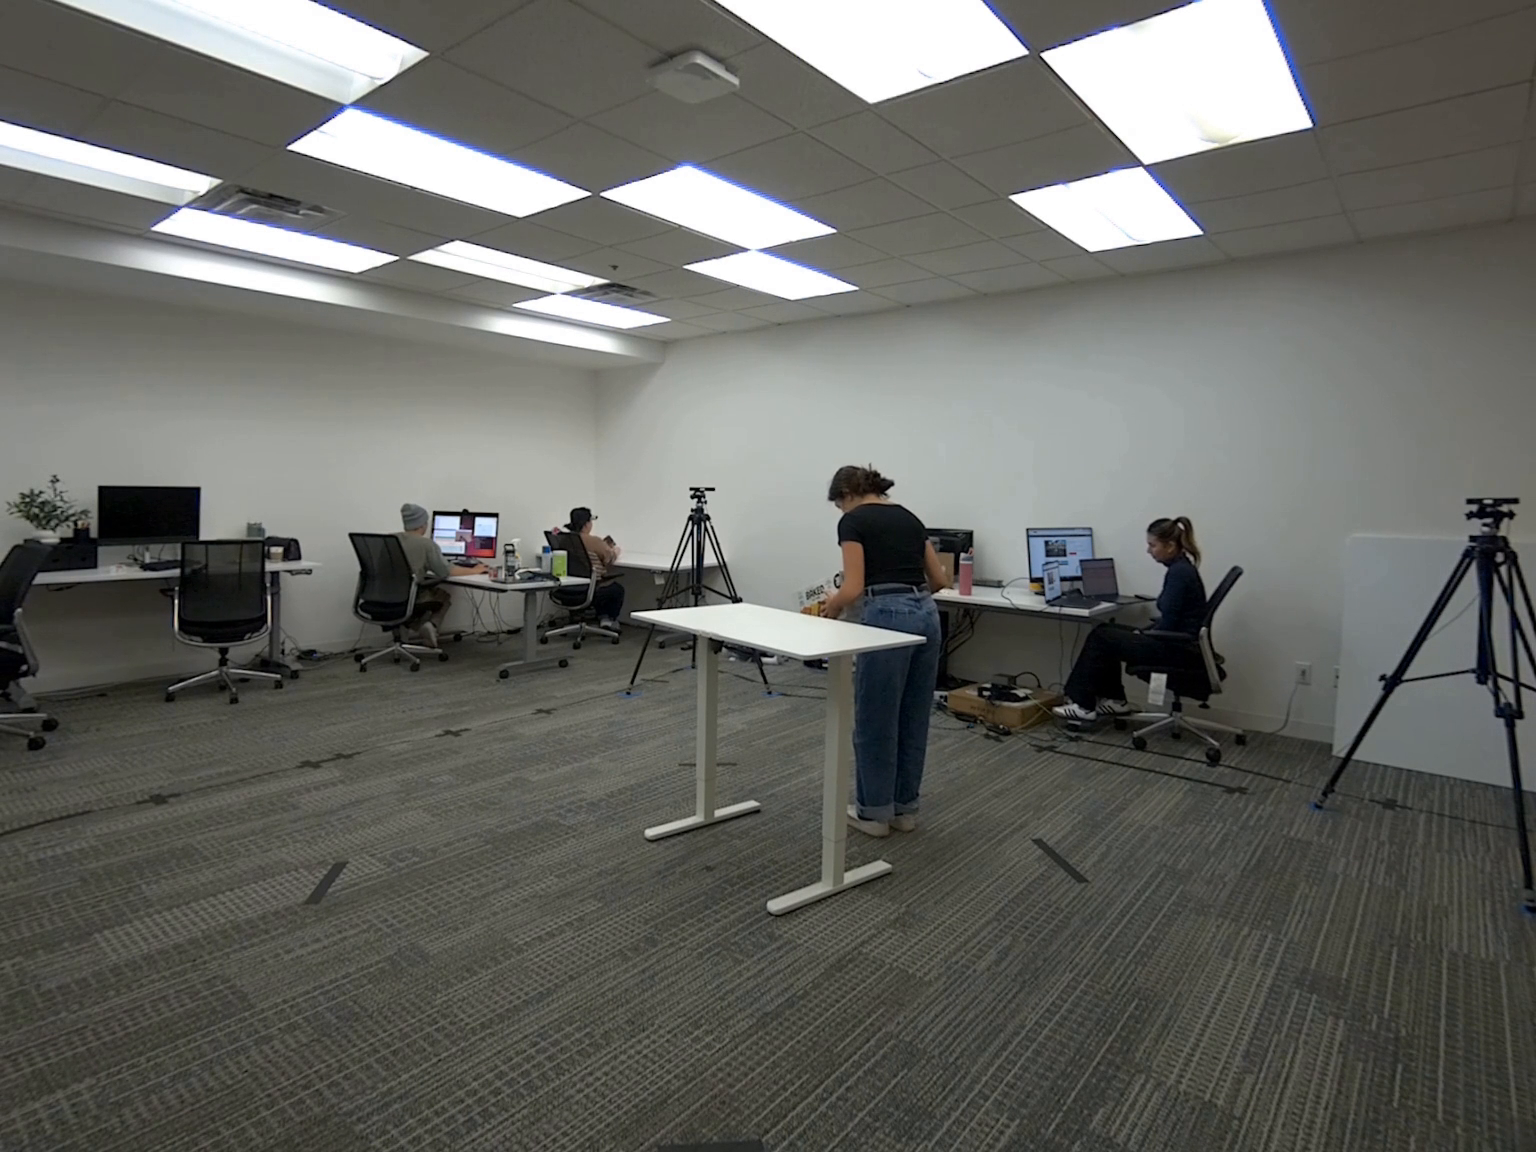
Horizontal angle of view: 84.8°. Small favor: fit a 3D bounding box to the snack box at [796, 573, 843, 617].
[{"bbox_3d":[0.354,0.123,3.824,0.331,0.209,0.409,0,-16,-29],"label":"snack box"}]
